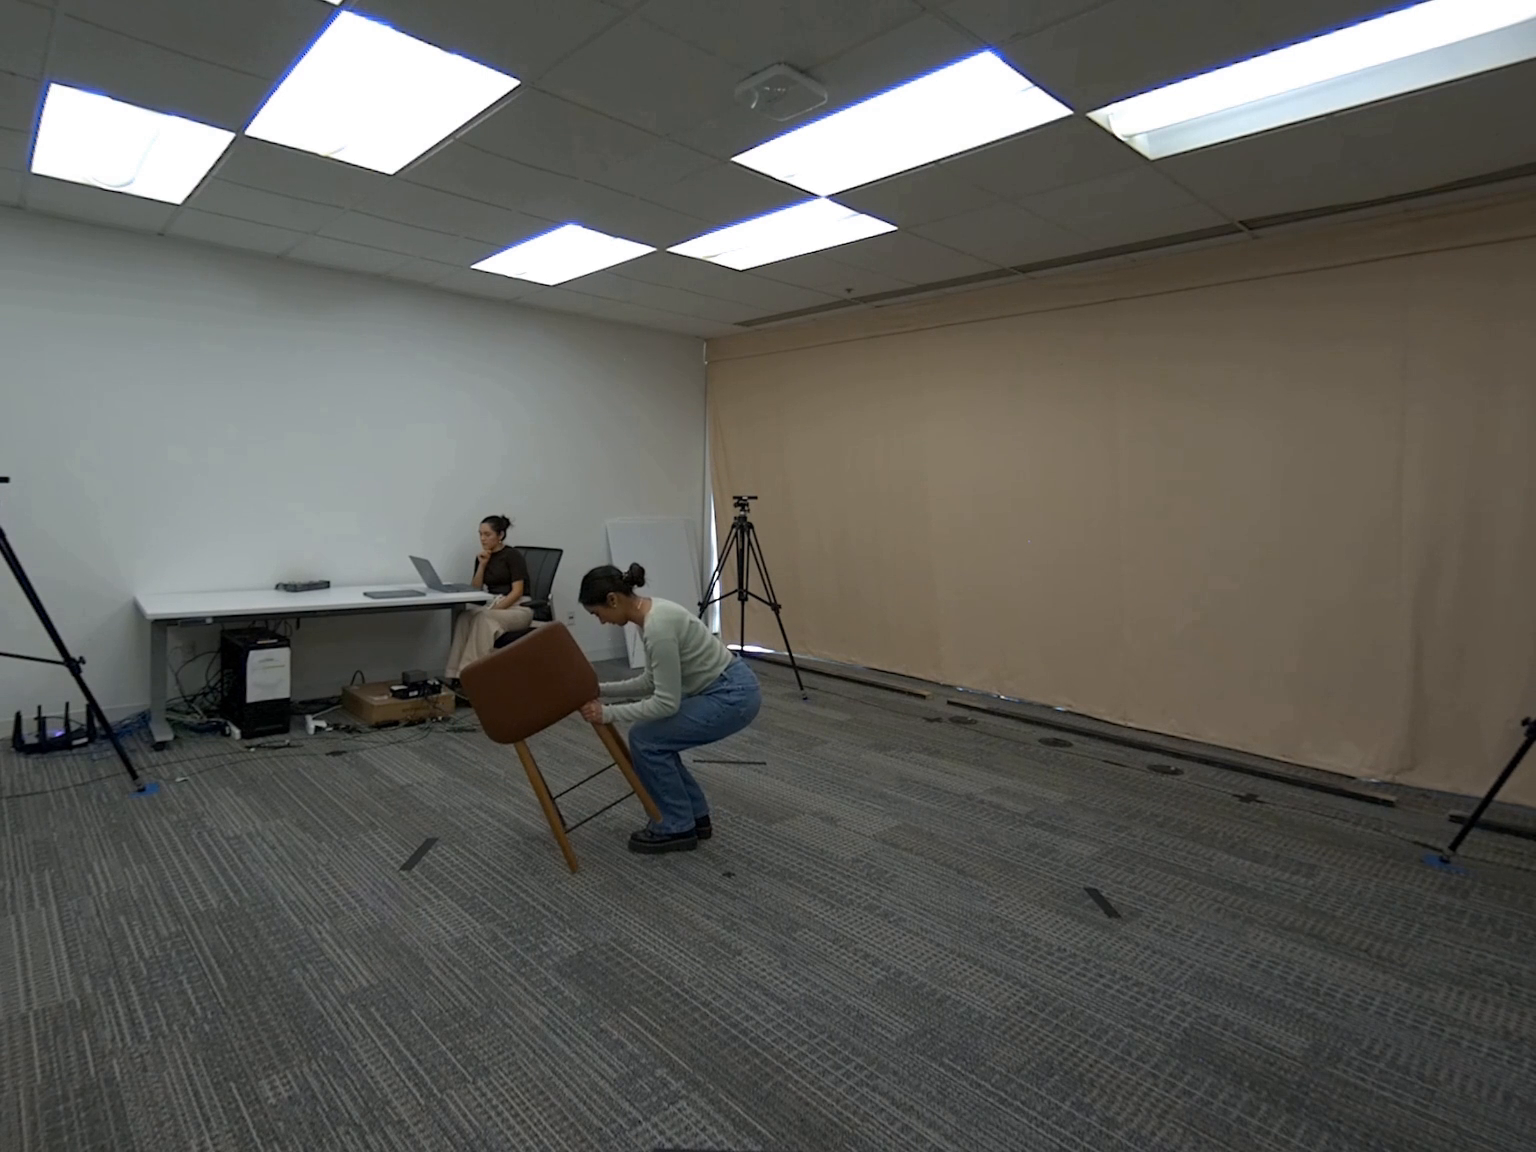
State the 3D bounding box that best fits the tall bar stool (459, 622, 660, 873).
[{"bbox_3d":[-0.818,0.607,3.242,0.454,0.878,0.476,-29,14,-13],"label":"tall bar stool"}]
